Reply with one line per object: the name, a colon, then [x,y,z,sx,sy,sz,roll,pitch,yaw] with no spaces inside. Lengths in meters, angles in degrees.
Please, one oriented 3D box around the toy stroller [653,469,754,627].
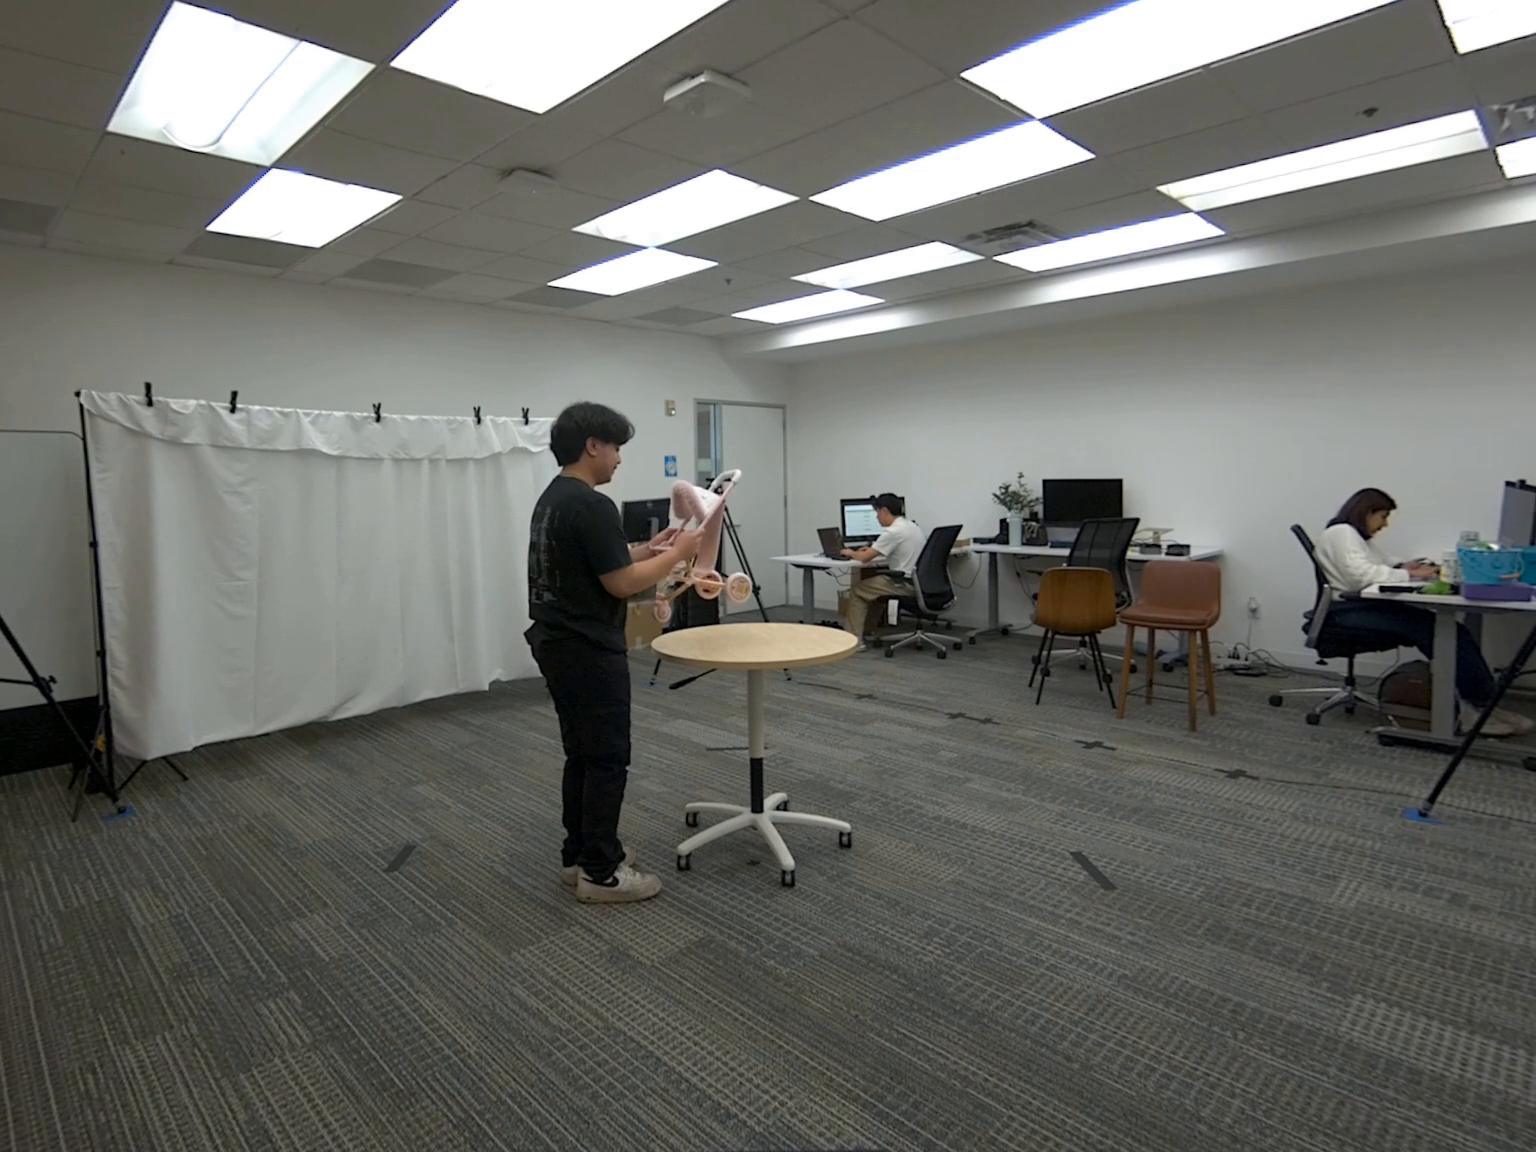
toy stroller: [-0.261,-0.108,3.087,0.335,0.534,0.287,-3,2,-22]
